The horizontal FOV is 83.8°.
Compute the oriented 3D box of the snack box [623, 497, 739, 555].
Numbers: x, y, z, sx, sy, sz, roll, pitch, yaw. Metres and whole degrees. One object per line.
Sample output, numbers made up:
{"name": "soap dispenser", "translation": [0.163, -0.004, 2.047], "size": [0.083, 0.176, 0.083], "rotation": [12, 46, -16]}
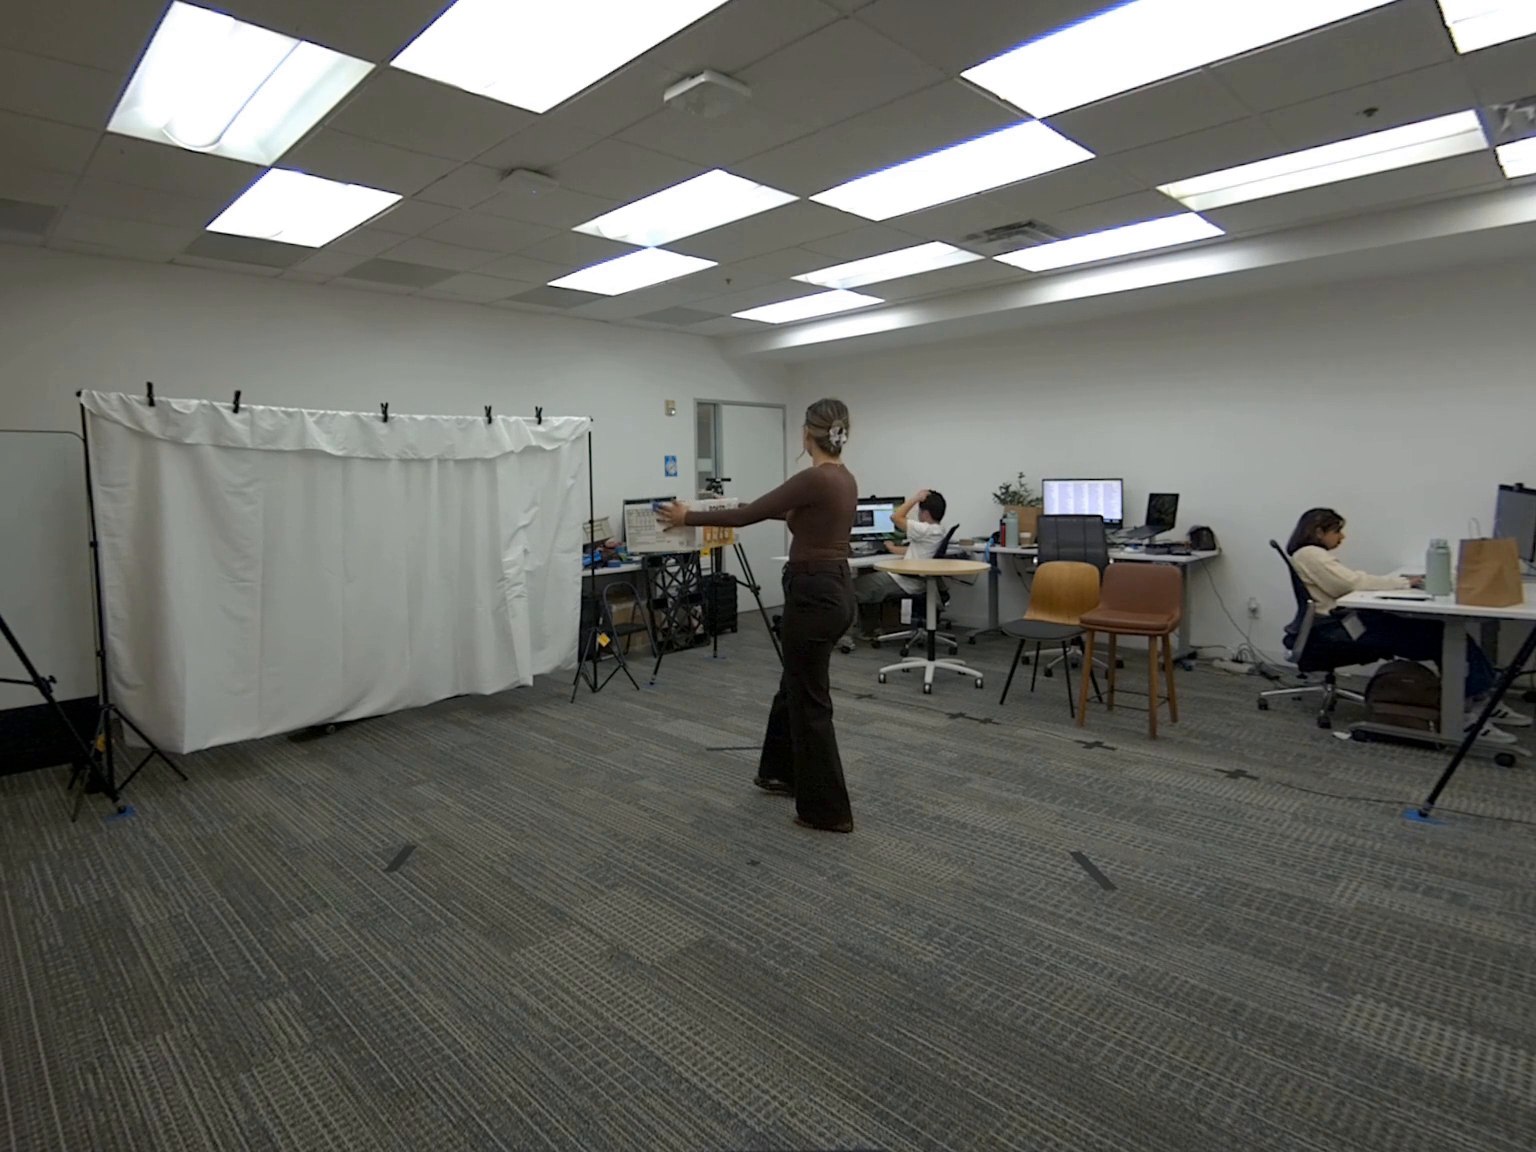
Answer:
{"name": "snack box", "translation": [-0.361, -0.220, 3.708], "size": [0.348, 0.205, 0.398], "rotation": [0, 6, 25]}
